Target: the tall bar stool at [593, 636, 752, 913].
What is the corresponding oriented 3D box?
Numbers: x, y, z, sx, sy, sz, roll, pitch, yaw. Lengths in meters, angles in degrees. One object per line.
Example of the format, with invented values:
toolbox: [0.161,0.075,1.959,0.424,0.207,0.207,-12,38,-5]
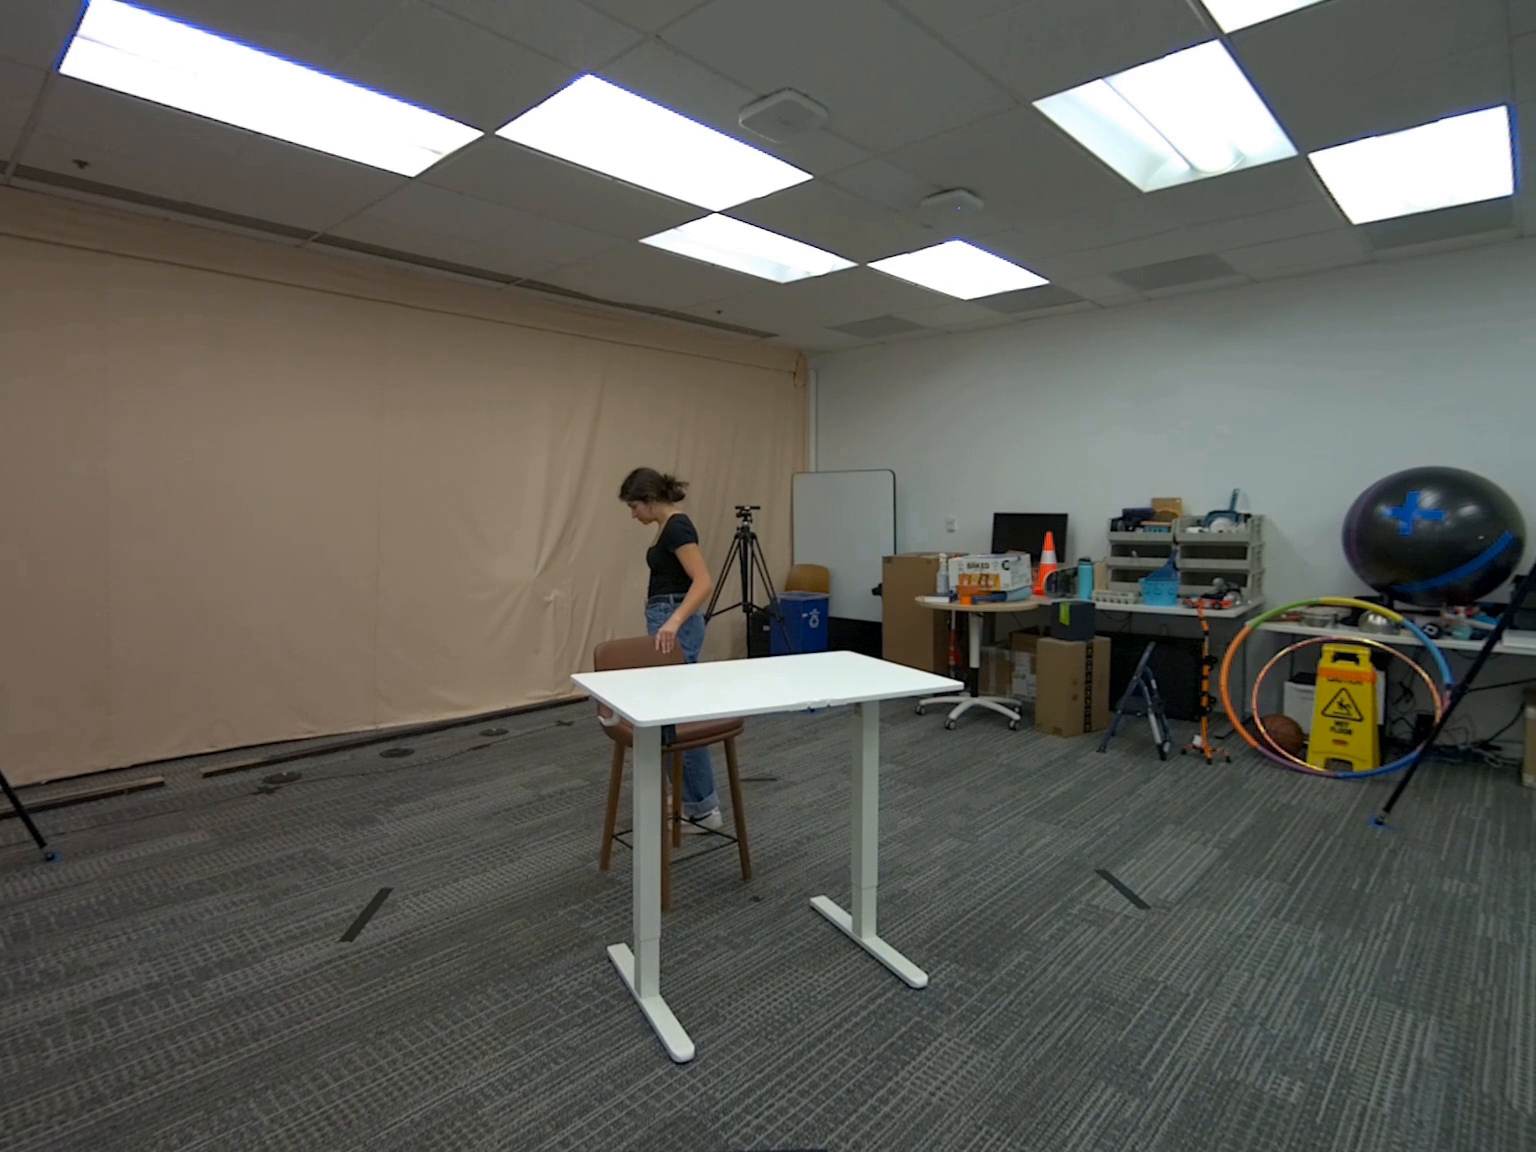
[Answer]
tall bar stool: [-0.369,0.693,3.162,0.443,0.889,0.482,-4,2,-41]
